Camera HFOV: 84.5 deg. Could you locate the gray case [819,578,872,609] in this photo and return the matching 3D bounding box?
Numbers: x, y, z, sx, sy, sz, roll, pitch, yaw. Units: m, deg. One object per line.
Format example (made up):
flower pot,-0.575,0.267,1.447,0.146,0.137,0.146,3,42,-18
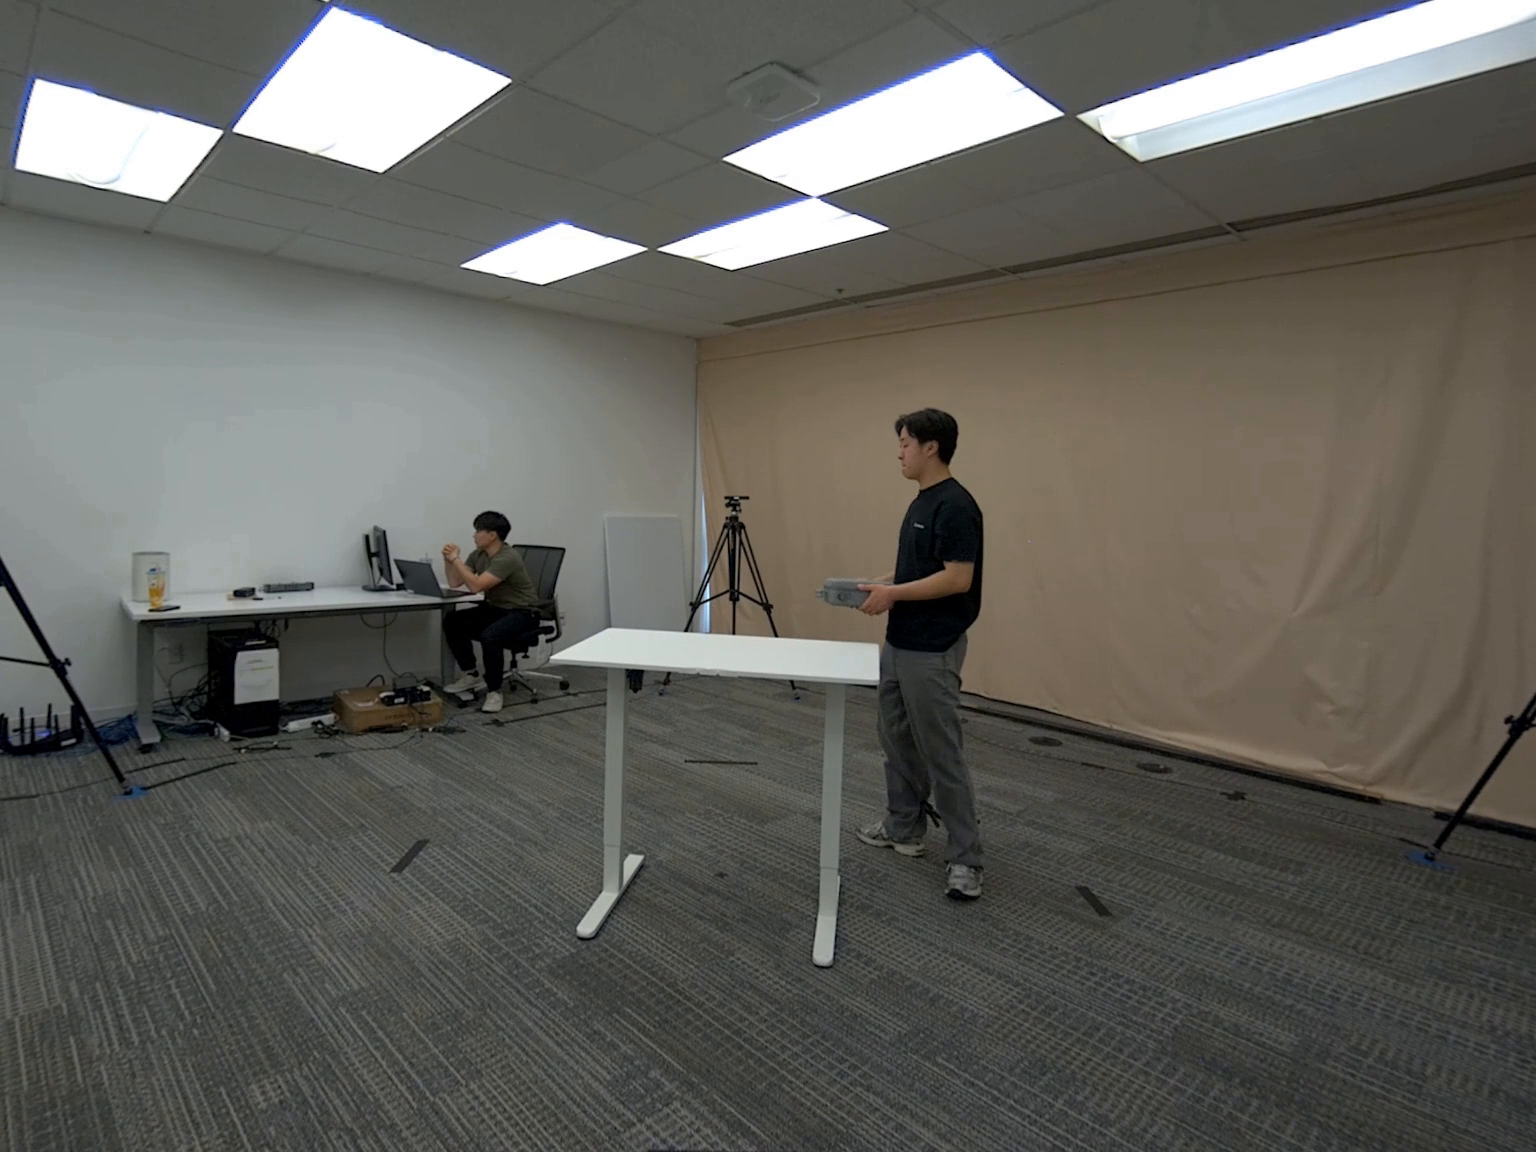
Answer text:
gray case,0.346,0.065,3.266,0.287,0.103,0.263,3,1,-2
